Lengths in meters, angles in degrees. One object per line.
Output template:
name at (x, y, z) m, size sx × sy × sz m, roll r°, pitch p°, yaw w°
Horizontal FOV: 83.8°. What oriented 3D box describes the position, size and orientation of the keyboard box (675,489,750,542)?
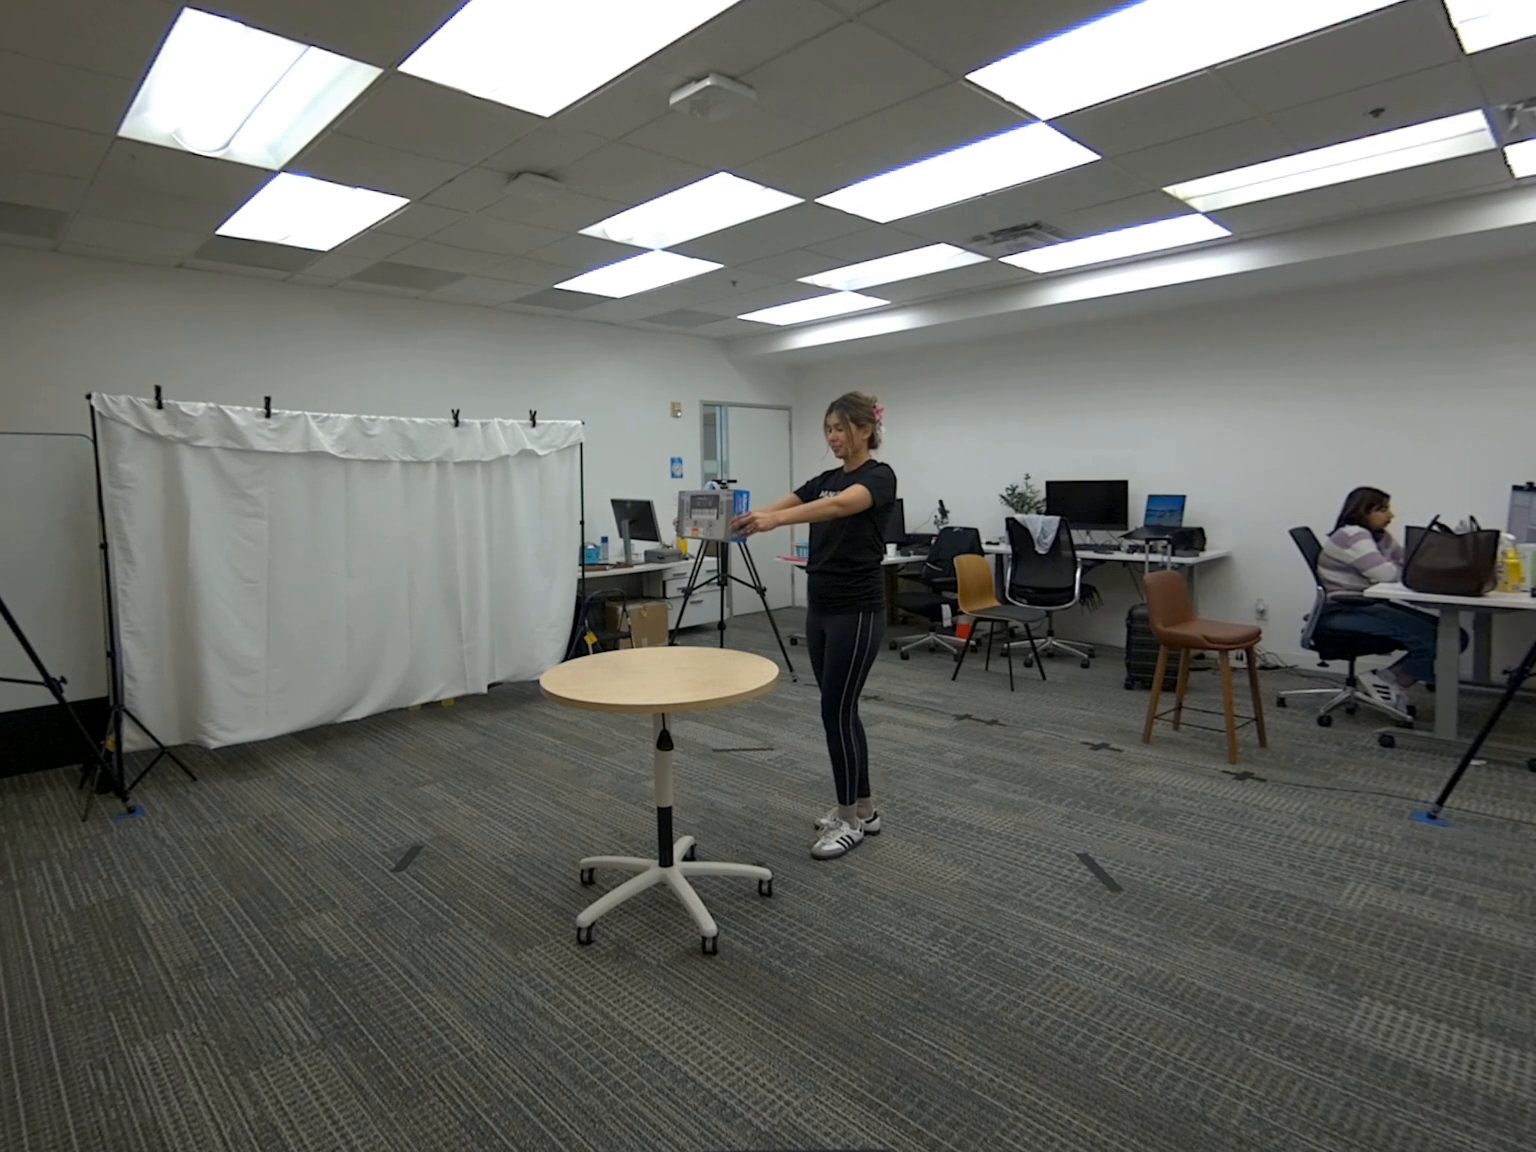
keyboard box at (-0.194, -0.212, 3.006) m, size 0.058 × 0.175 × 0.448 m, roll 1°, pitch 4°, yaw -27°
